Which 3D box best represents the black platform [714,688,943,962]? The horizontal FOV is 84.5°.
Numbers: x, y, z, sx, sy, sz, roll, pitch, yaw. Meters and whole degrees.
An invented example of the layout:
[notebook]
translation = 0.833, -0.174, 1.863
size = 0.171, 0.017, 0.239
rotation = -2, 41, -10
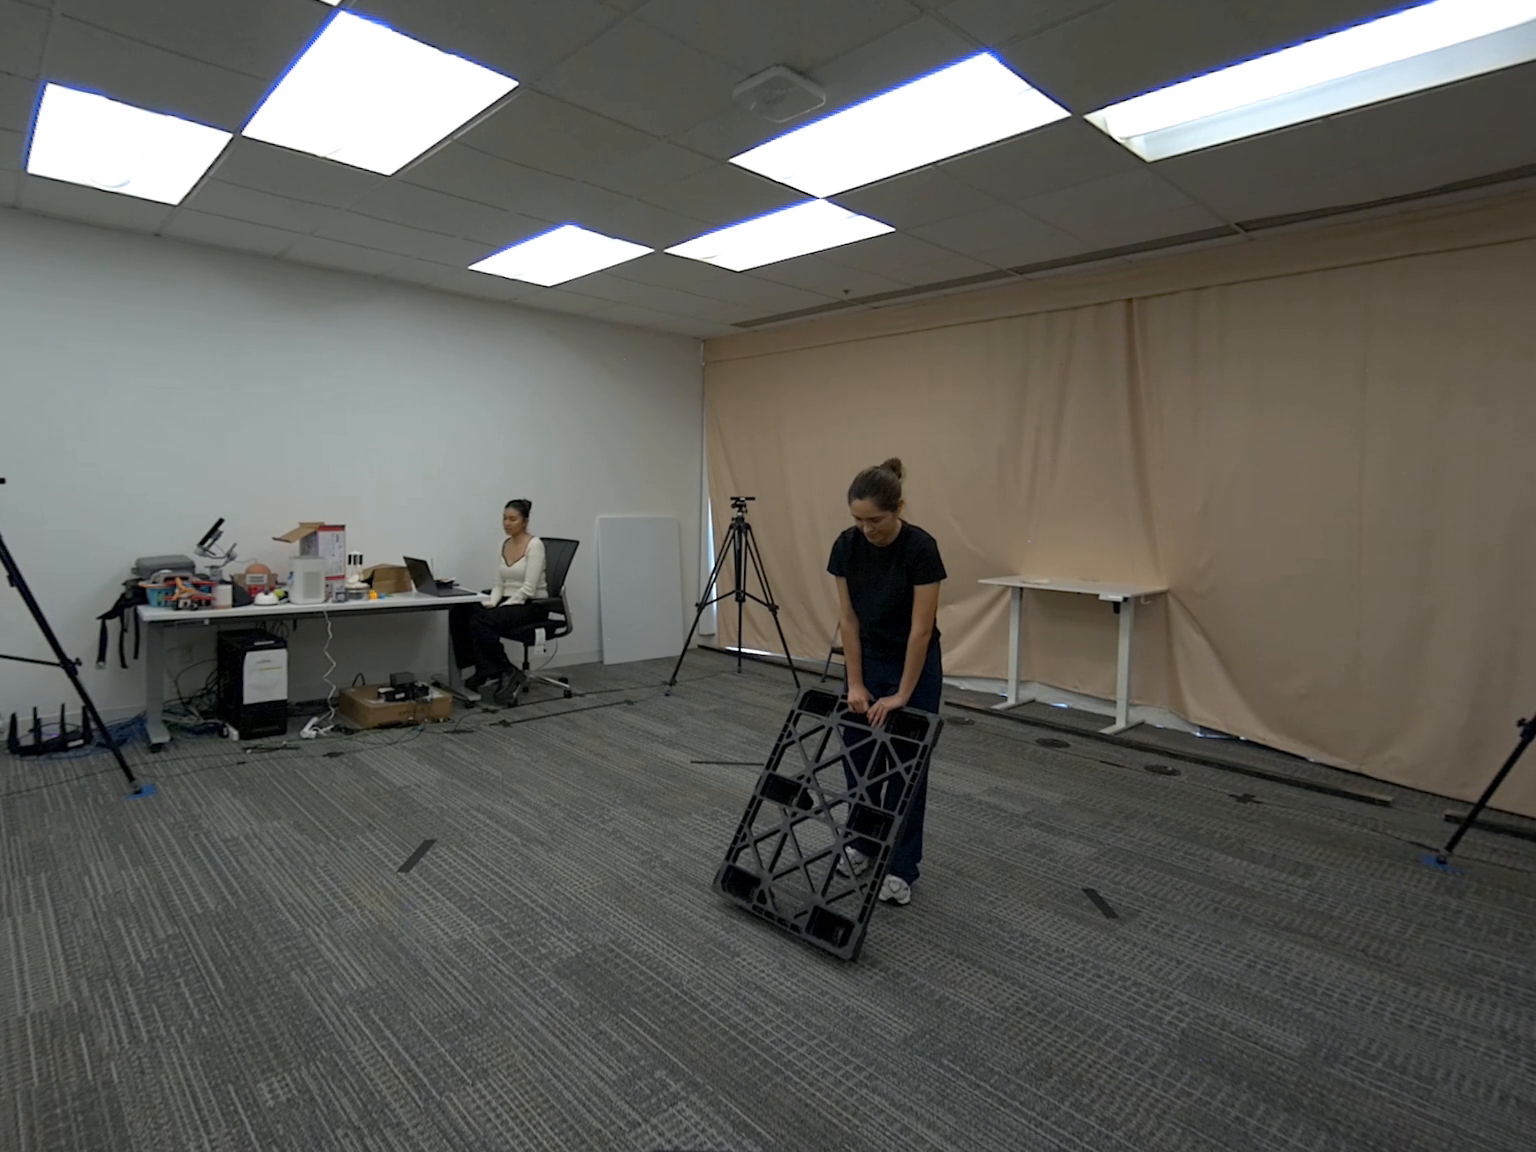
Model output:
[black platform]
translation = 0.212, 0.804, 2.839
size = 0.621, 0.810, 0.139
rotation = 5, -29, 44
